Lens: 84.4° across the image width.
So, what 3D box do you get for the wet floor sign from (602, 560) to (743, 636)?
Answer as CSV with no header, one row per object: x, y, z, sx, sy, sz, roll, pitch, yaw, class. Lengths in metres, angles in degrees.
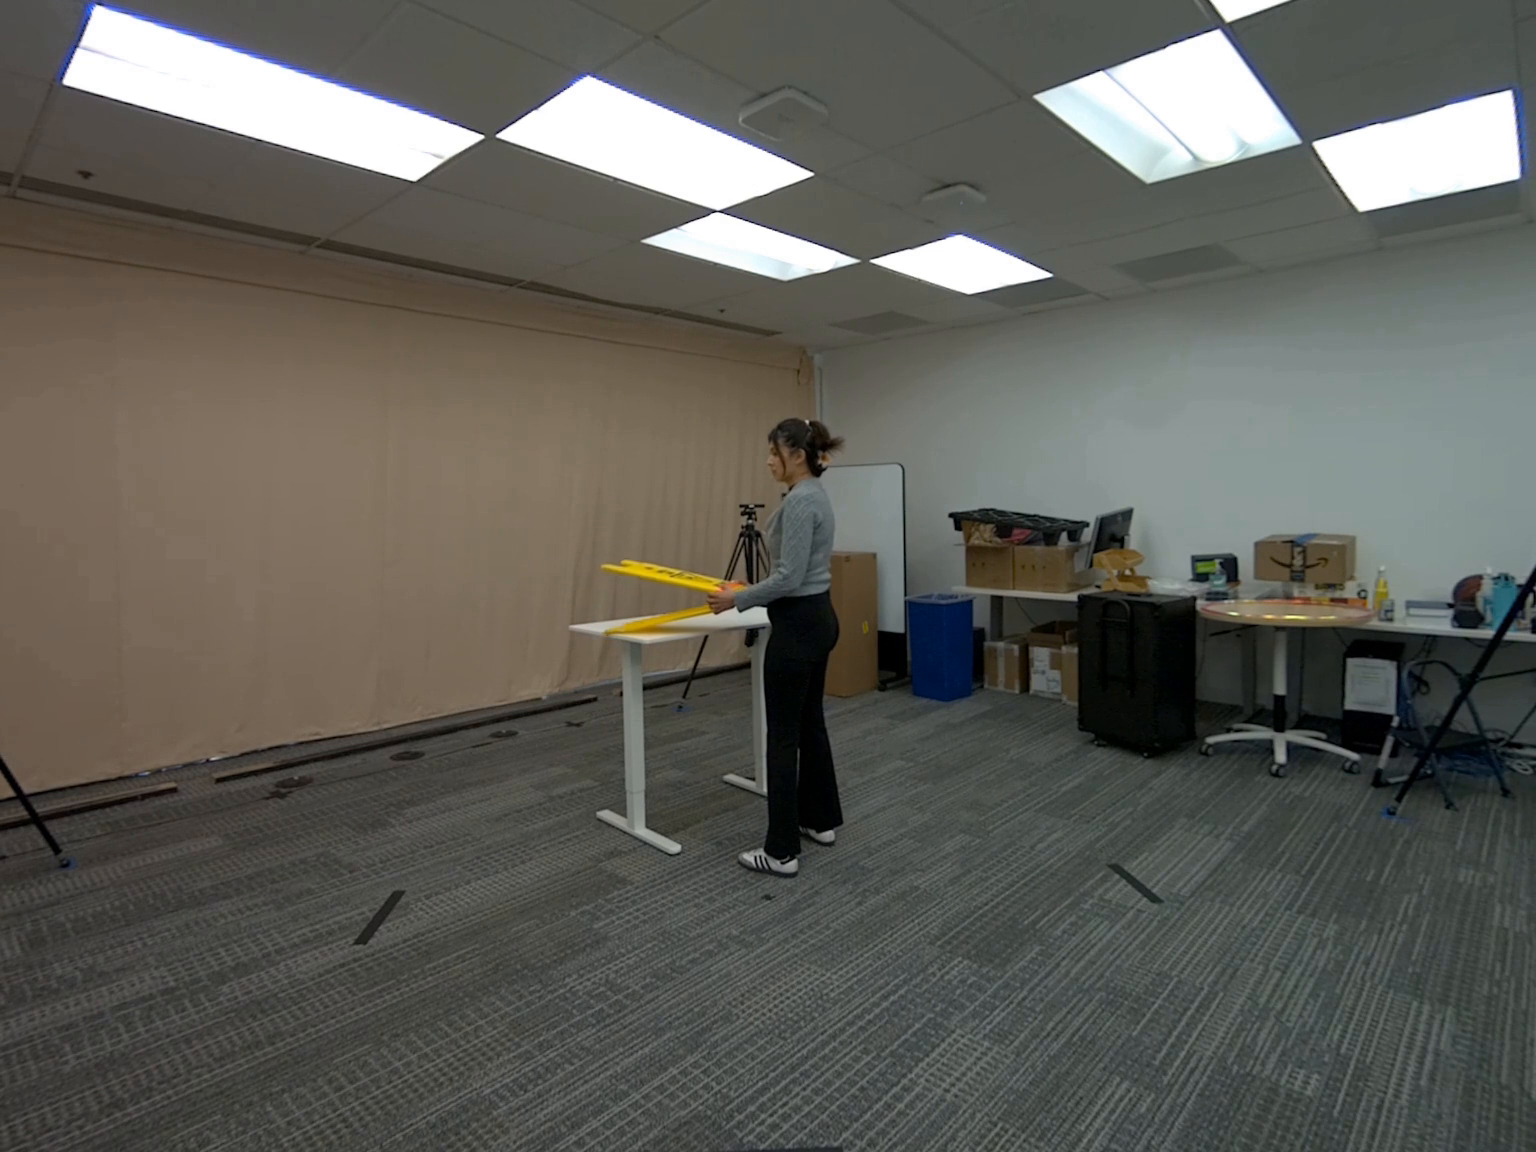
-0.329,0.085,3.445,0.658,0.289,0.278,-1,4,17,wet floor sign
